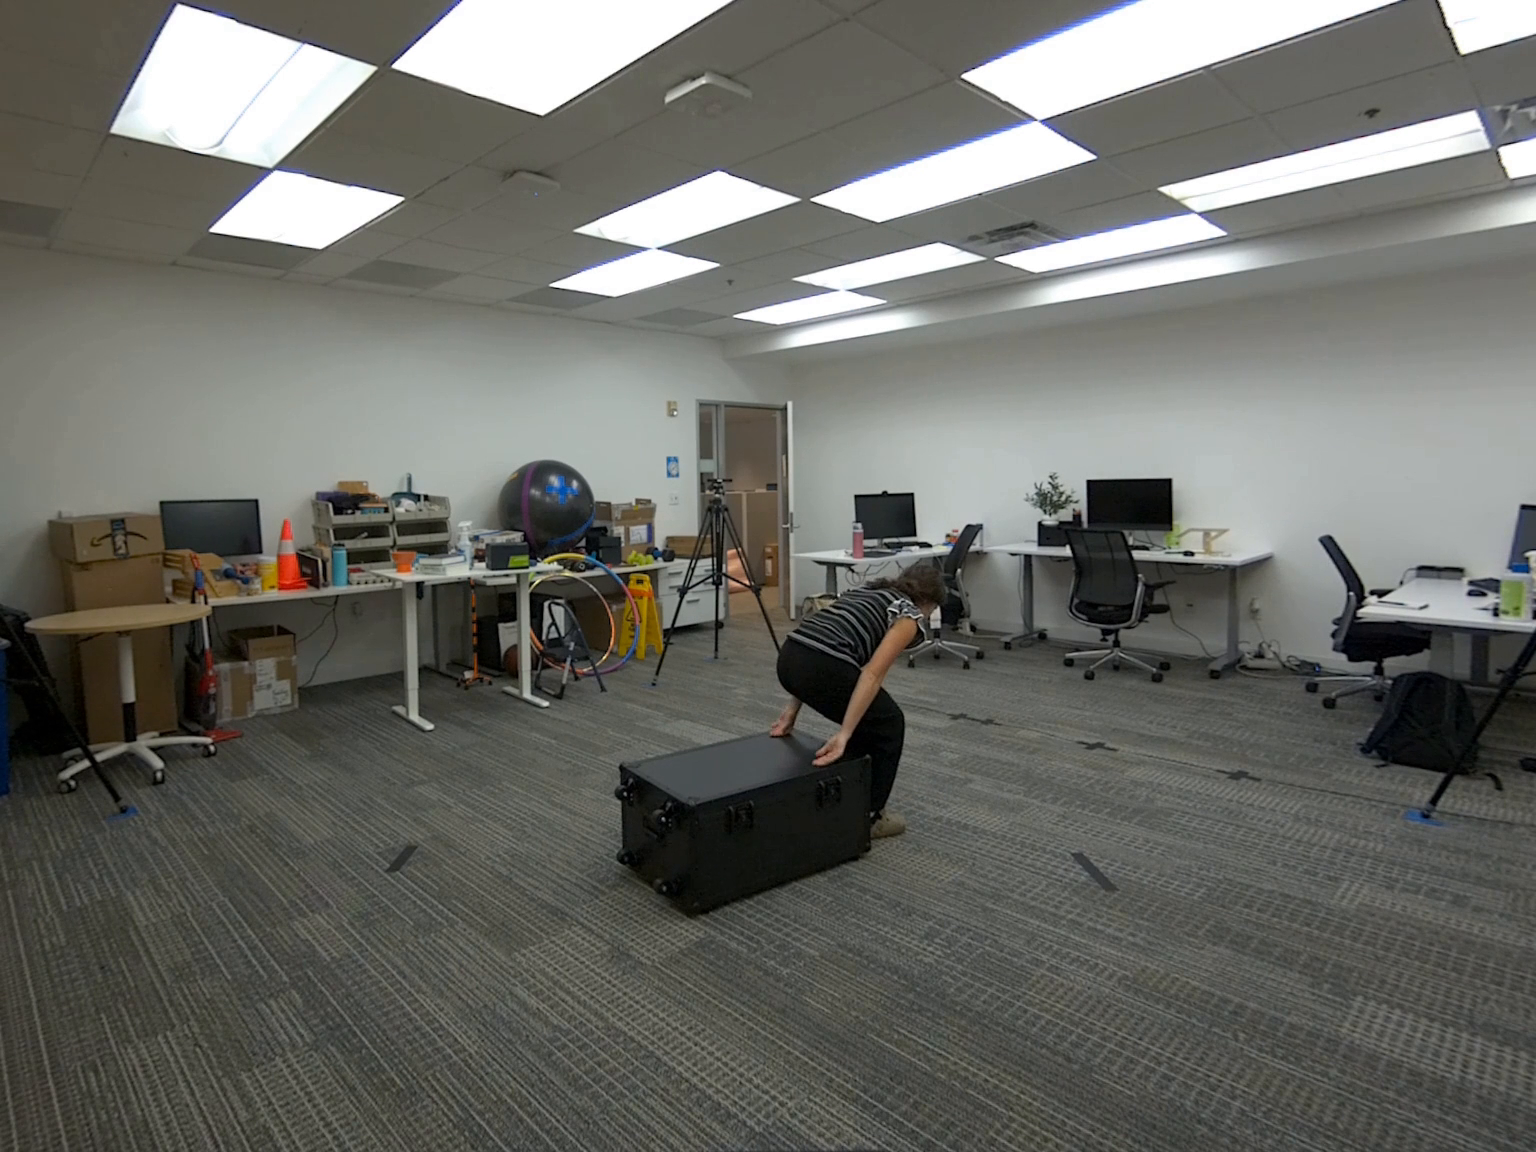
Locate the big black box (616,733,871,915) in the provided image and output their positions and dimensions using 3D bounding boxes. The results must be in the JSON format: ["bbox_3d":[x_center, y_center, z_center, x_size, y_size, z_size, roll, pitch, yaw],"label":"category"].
[{"bbox_3d":[-0.108,0.858,3.094,0.839,0.395,0.537,-4,6,-35],"label":"big black box"}]
